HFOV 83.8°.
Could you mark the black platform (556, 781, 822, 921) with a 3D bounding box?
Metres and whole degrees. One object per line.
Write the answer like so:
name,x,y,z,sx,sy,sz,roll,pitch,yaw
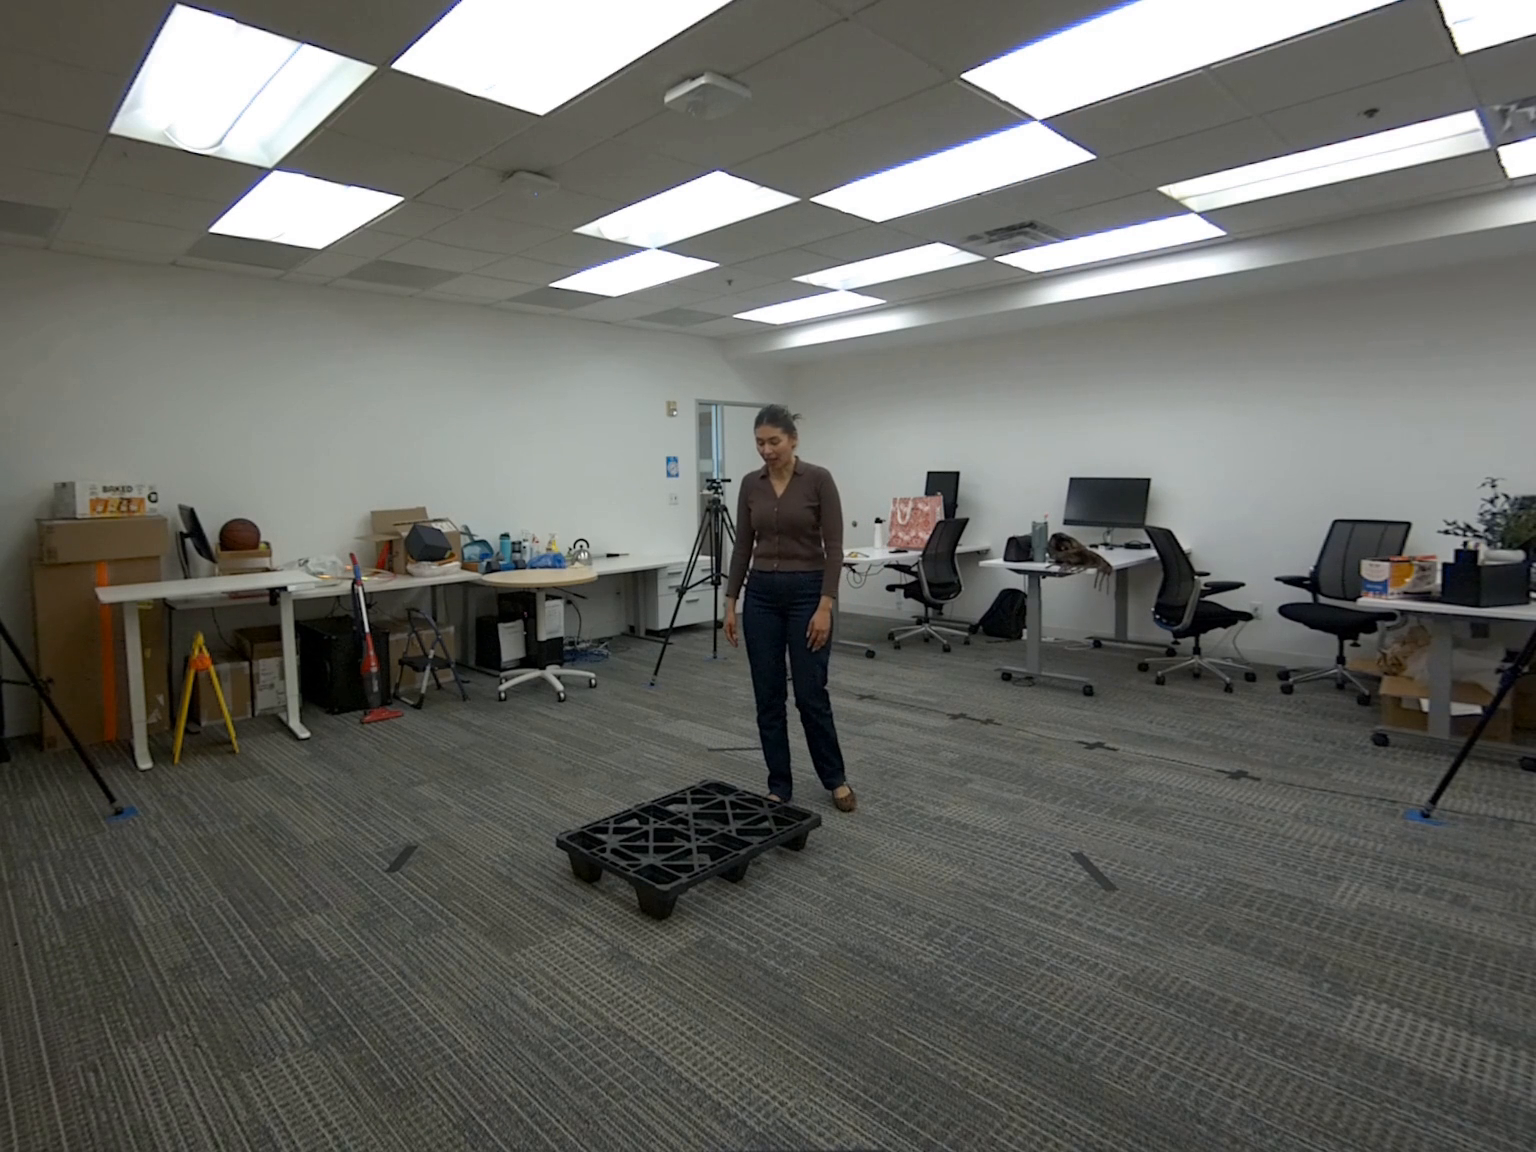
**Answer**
black platform,-0.269,0.979,3.130,0.624,0.142,0.785,6,10,42
